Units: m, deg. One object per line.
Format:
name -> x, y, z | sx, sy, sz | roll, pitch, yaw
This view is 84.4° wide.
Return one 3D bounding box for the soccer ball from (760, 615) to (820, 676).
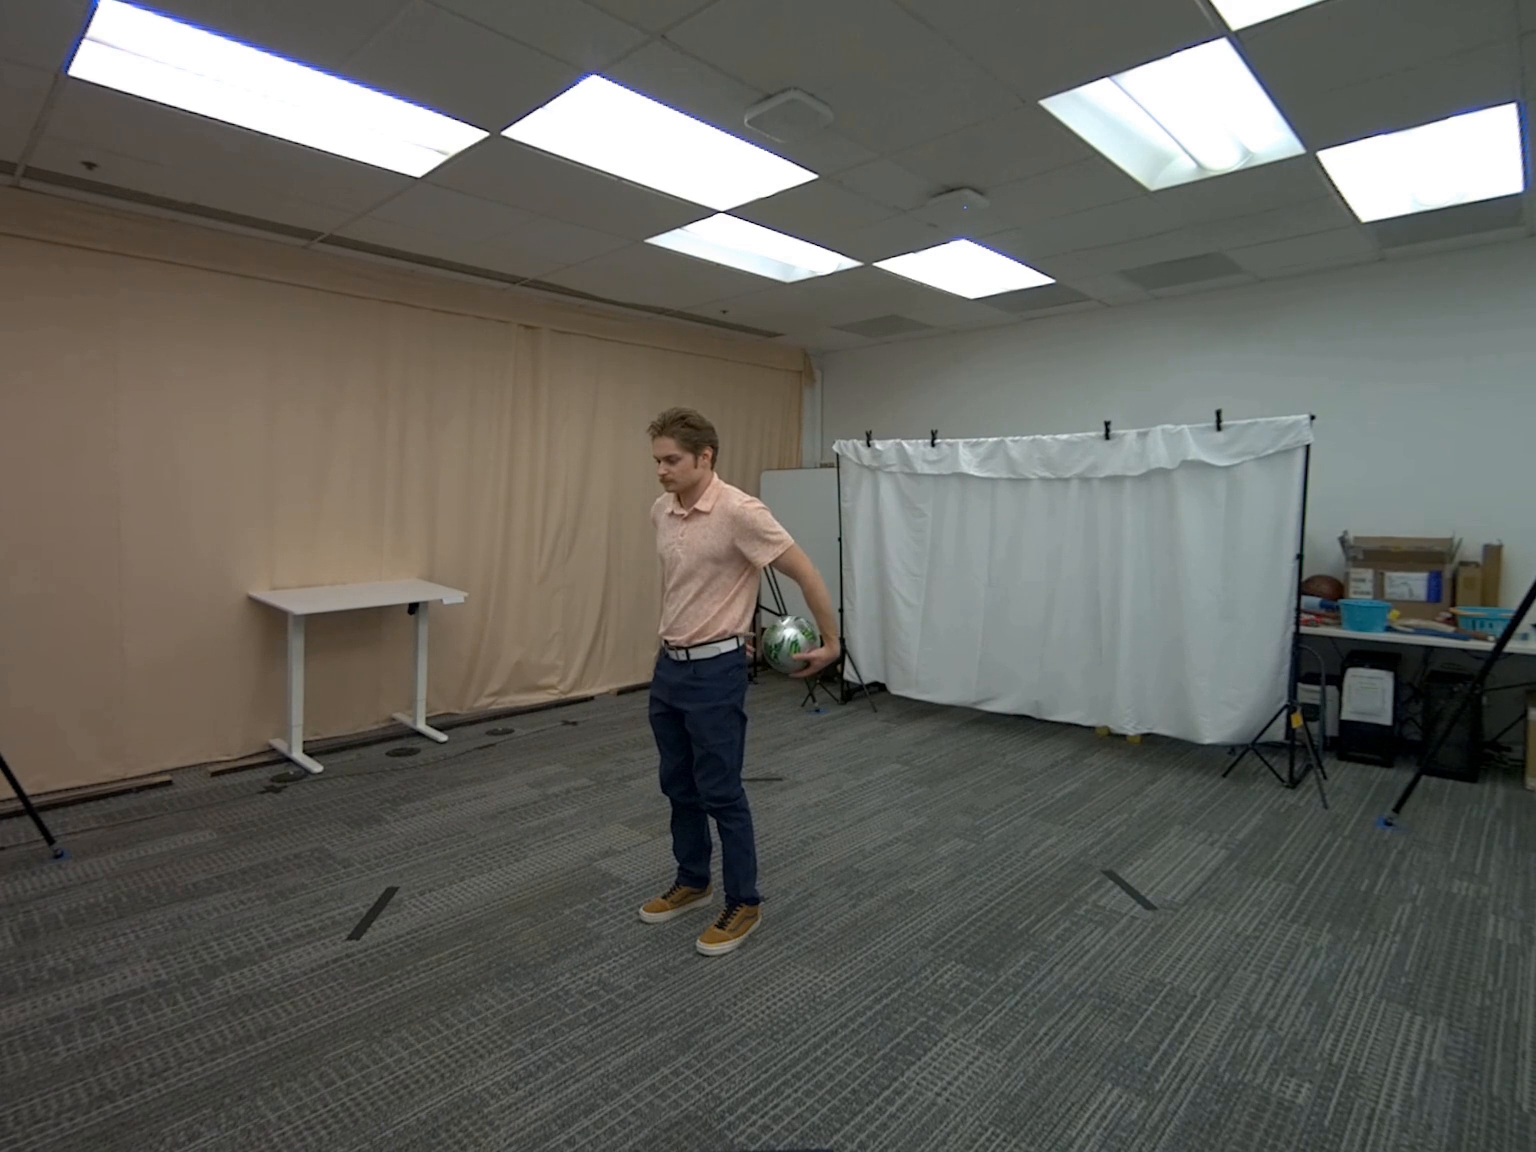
soccer ball -> 0.067, 0.222, 2.720 | 0.187, 0.187, 0.188 | 0, 4, -2
